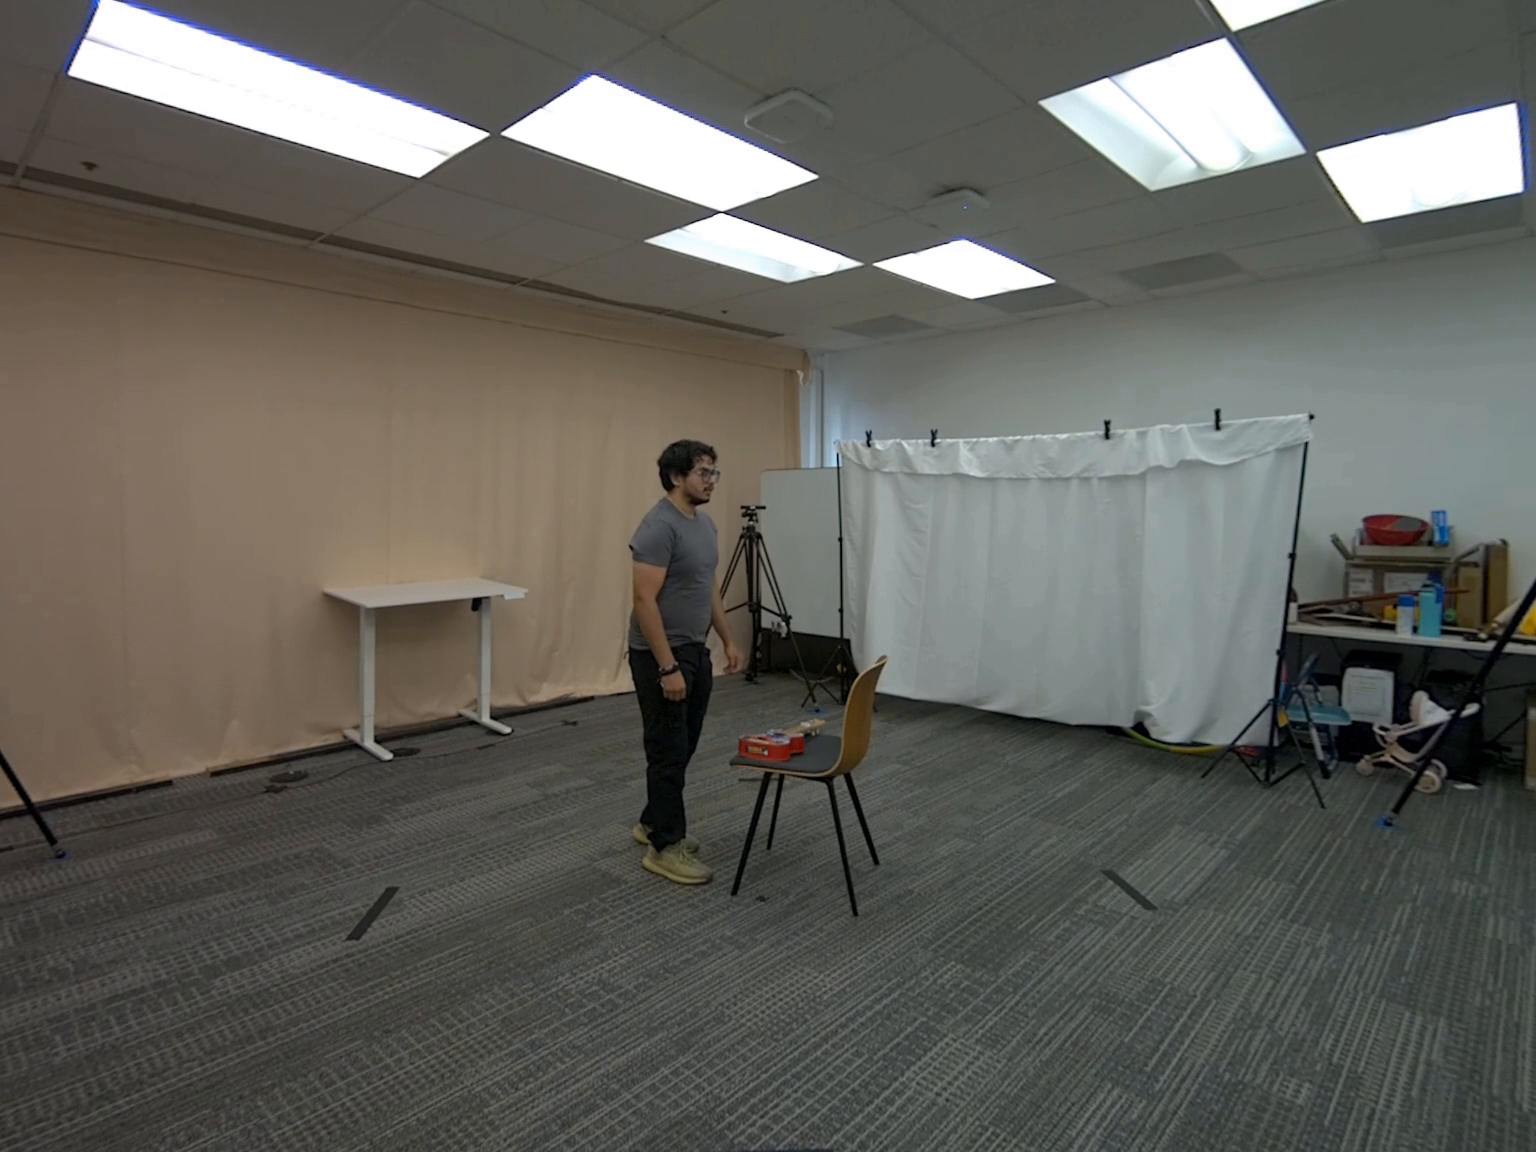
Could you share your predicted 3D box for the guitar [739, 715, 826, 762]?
[{"bbox_3d":[0.109,0.618,3.154,0.199,0.070,0.482,3,3,42],"label":"guitar"}]
